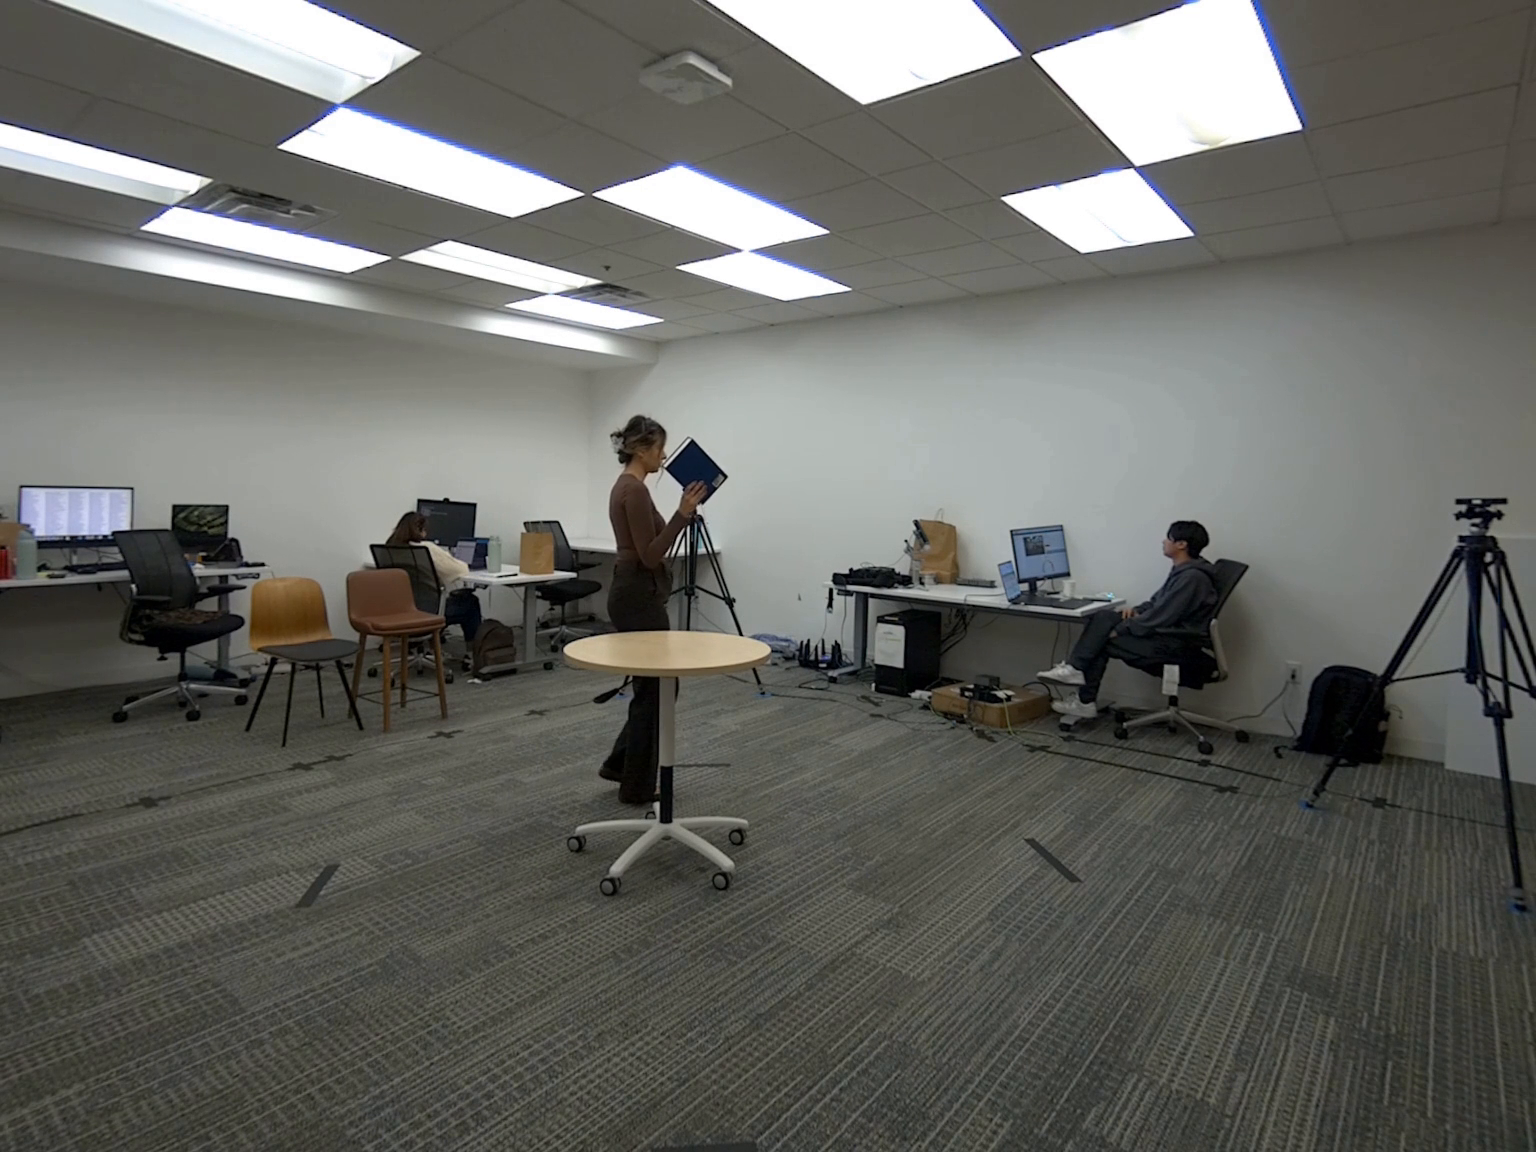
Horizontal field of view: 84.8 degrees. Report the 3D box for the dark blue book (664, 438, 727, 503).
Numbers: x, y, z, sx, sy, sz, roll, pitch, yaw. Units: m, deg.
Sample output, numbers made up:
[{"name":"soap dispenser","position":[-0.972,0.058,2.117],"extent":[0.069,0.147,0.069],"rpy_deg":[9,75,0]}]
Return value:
[{"name":"dark blue book","position":[-0.311,-0.433,3.471],"extent":[0.236,0.163,0.047],"rpy_deg":[44,-1,-33]}]
